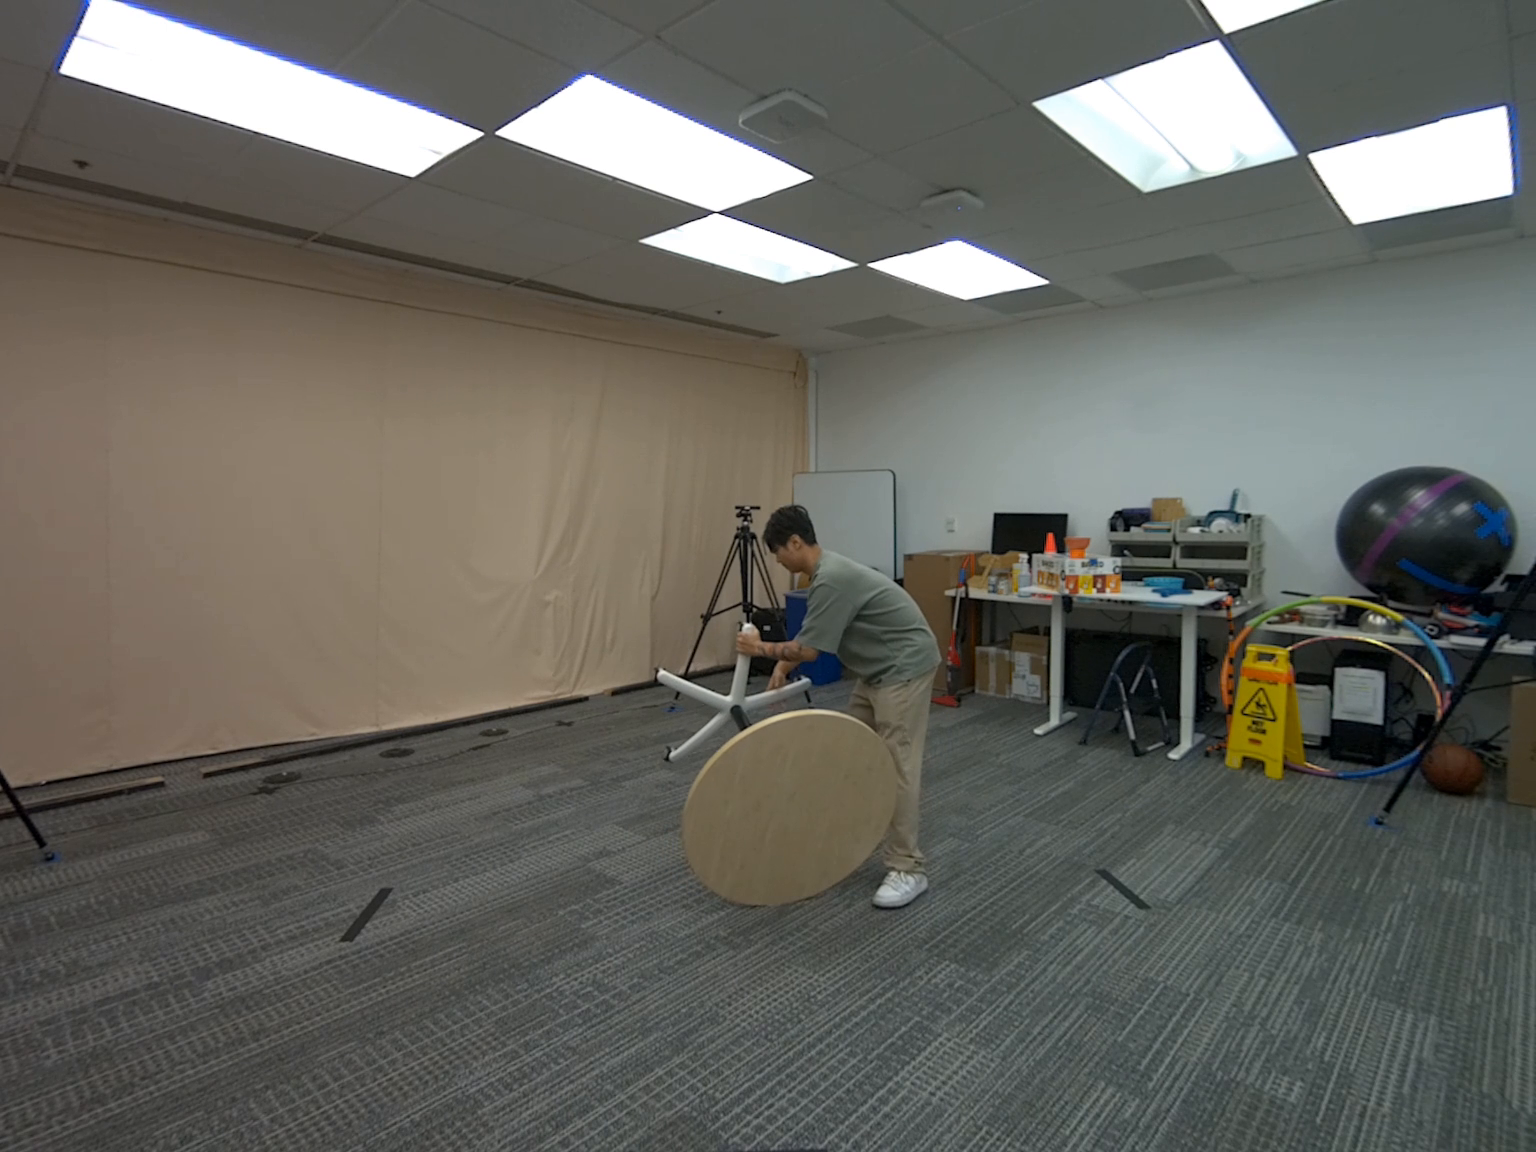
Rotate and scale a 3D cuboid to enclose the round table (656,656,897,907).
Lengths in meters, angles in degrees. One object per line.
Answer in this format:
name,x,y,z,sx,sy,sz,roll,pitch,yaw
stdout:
round table,-0.043,0.650,3.177,0.771,0.777,0.808,-1,21,-18
